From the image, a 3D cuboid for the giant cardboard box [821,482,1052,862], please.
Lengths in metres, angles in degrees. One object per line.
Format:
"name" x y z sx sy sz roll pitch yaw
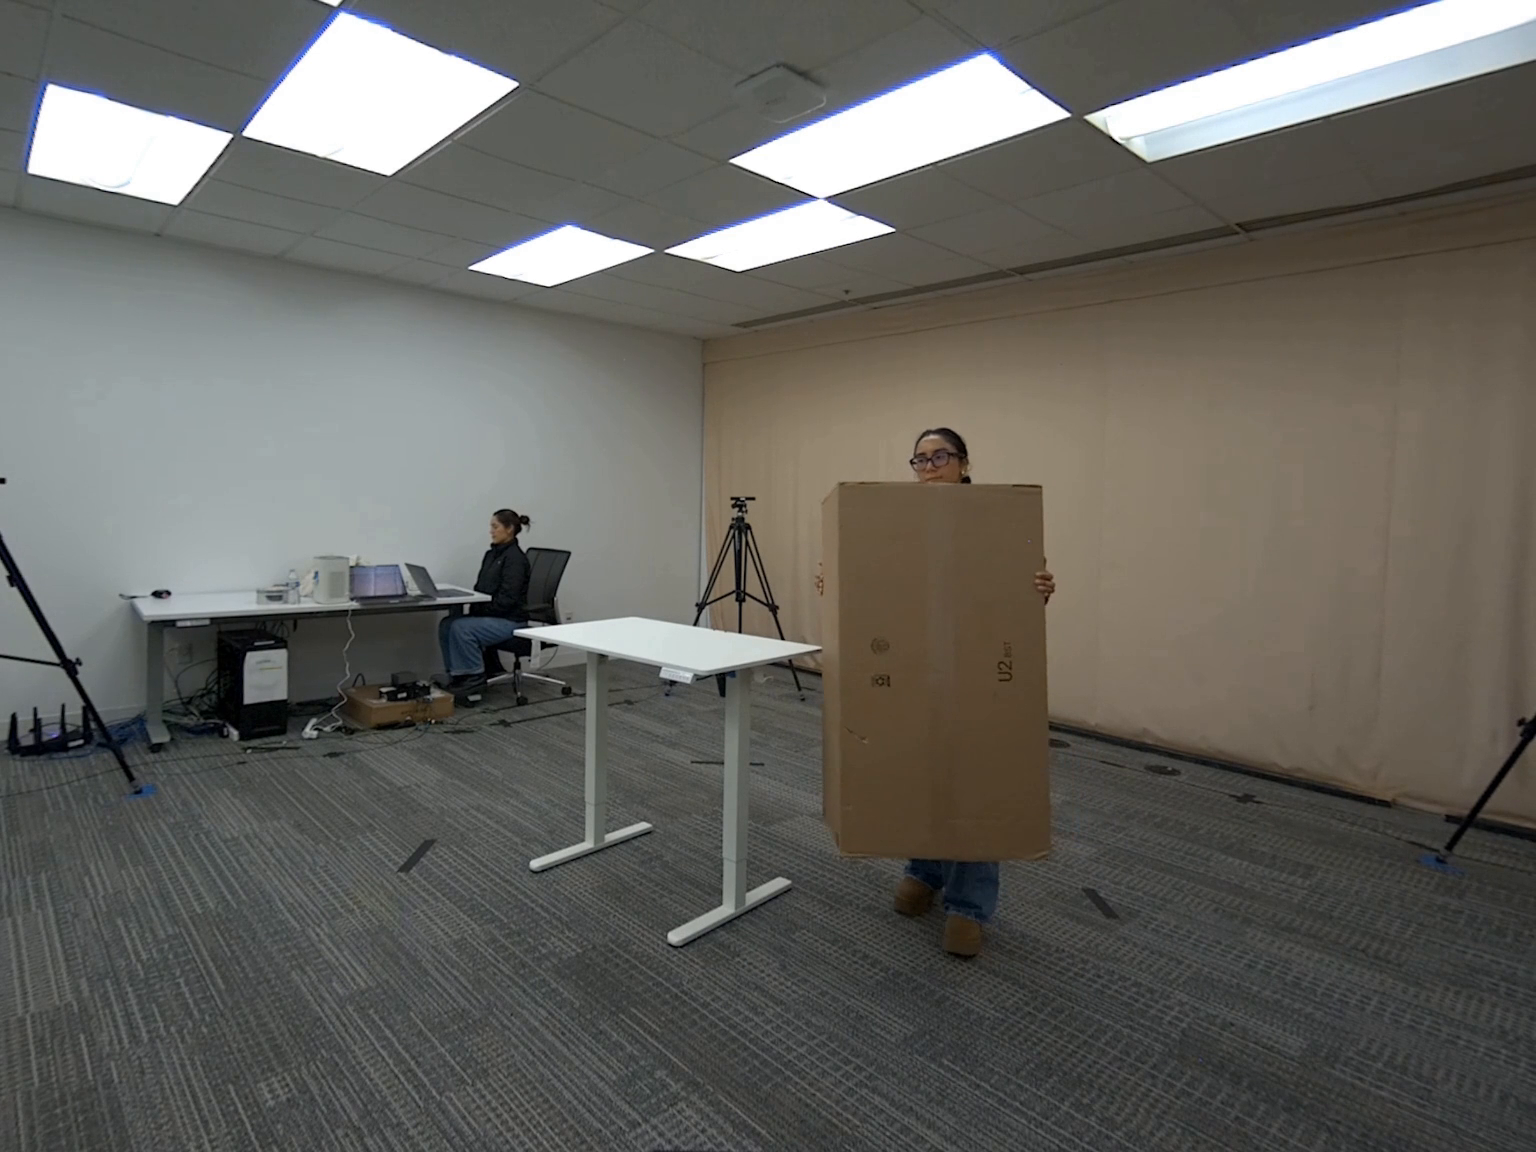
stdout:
"giant cardboard box" 0.468 0.263 2.499 0.577 1.029 0.425 1 -4 -2
